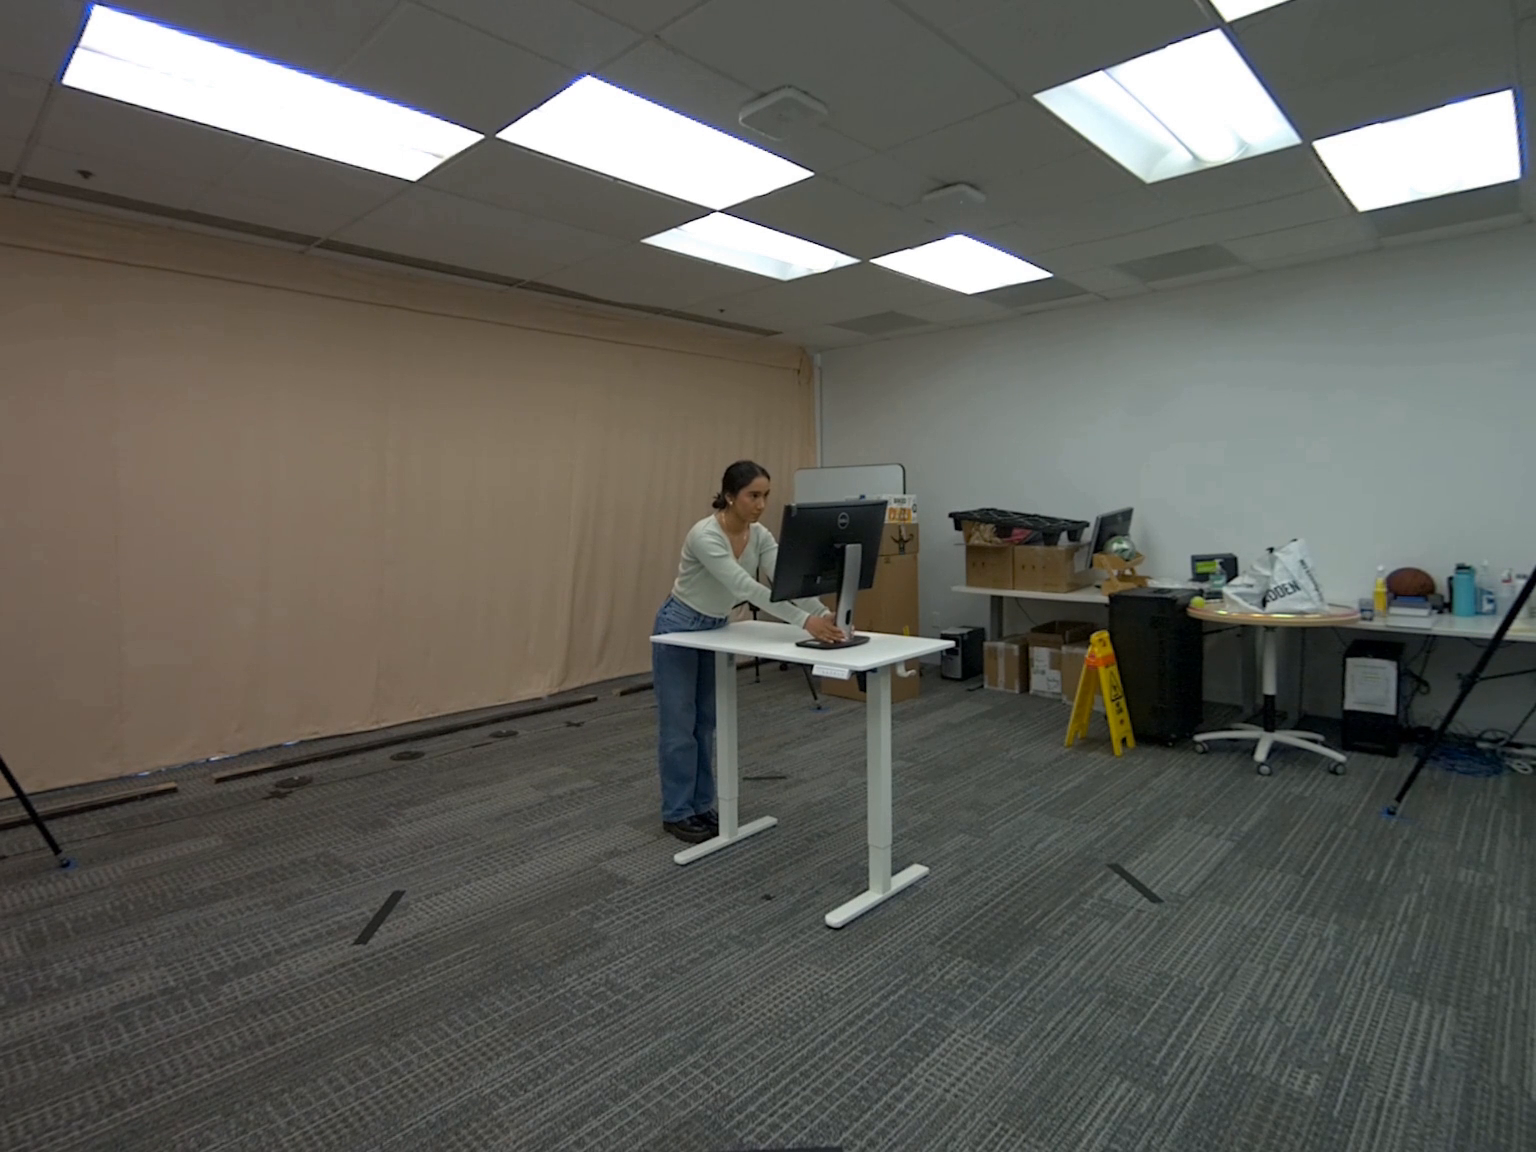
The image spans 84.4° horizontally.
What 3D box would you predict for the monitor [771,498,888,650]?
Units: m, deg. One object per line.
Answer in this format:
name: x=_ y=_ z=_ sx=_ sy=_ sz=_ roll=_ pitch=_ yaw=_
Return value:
monitor: x=0.251 y=-0.006 z=3.030 sx=0.523 sy=0.521 sz=0.193 roll=-5 pitch=6 yaw=-41
